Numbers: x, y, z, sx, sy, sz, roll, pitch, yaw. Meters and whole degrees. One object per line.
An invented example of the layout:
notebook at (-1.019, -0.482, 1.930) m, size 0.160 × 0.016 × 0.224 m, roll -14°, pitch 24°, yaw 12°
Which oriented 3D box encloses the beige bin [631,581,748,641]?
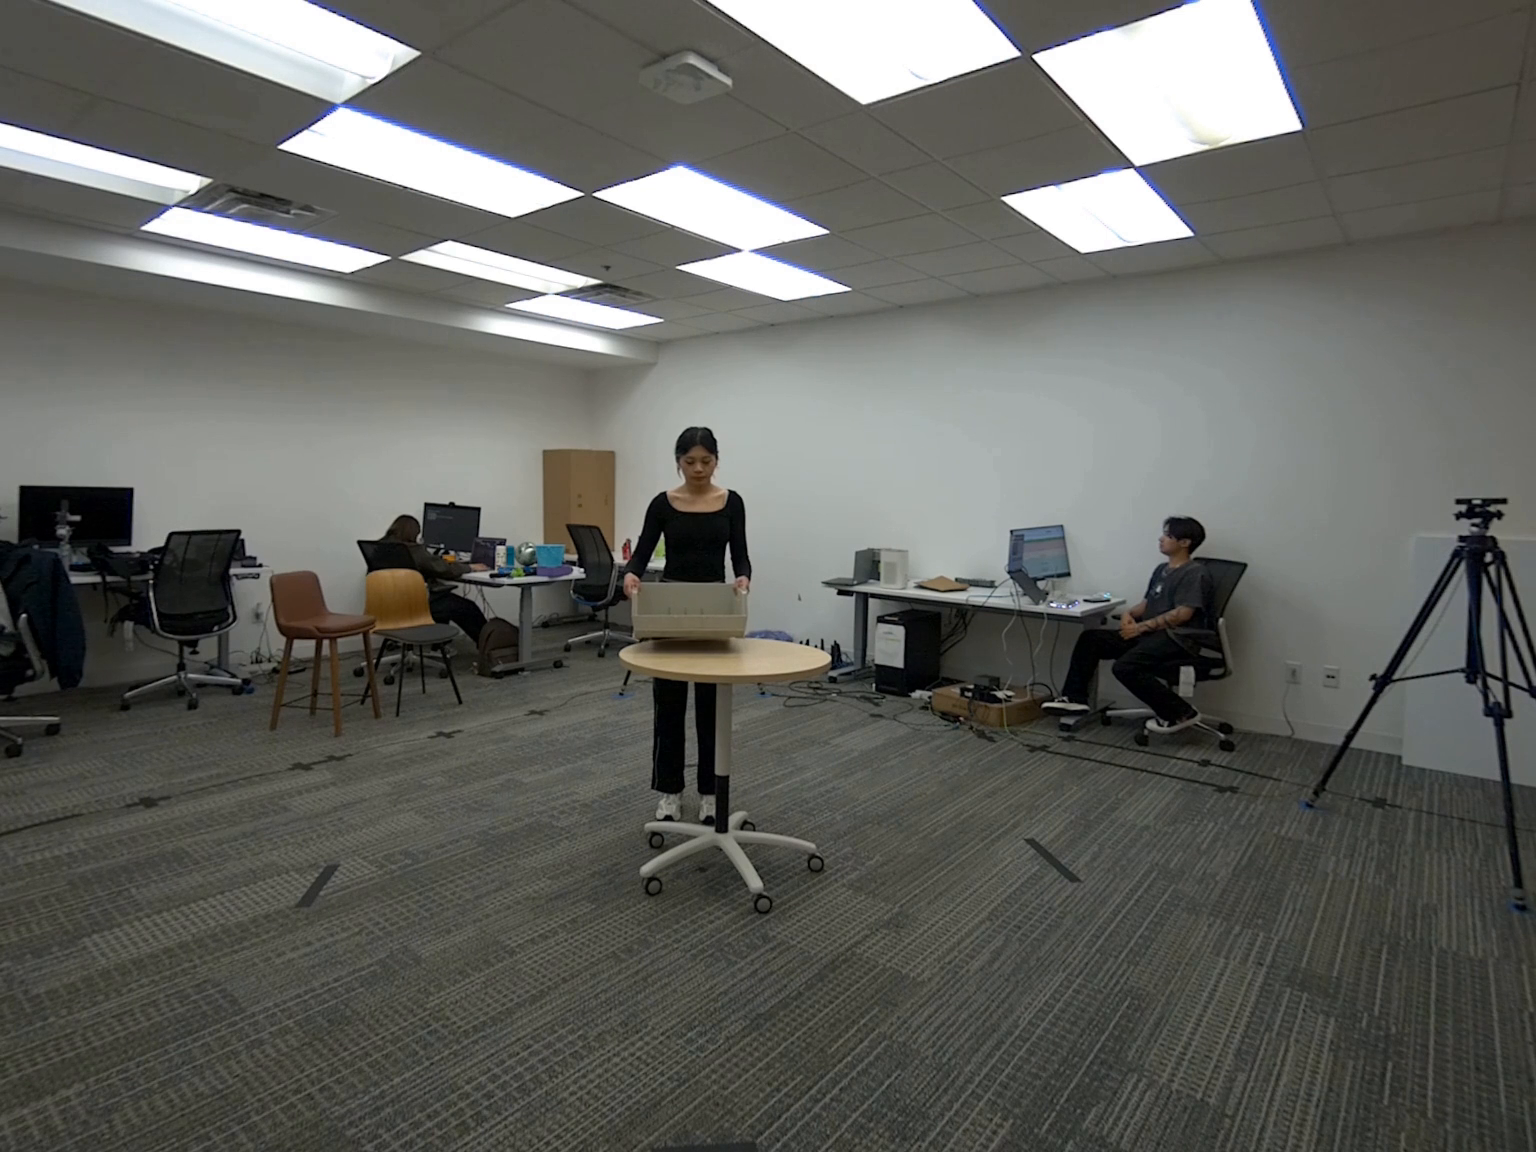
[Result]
beige bin at (-0.320, 0.126, 3.226) m, size 0.419 × 0.188 × 0.381 m, roll 0°, pitch 3°, yaw -8°
